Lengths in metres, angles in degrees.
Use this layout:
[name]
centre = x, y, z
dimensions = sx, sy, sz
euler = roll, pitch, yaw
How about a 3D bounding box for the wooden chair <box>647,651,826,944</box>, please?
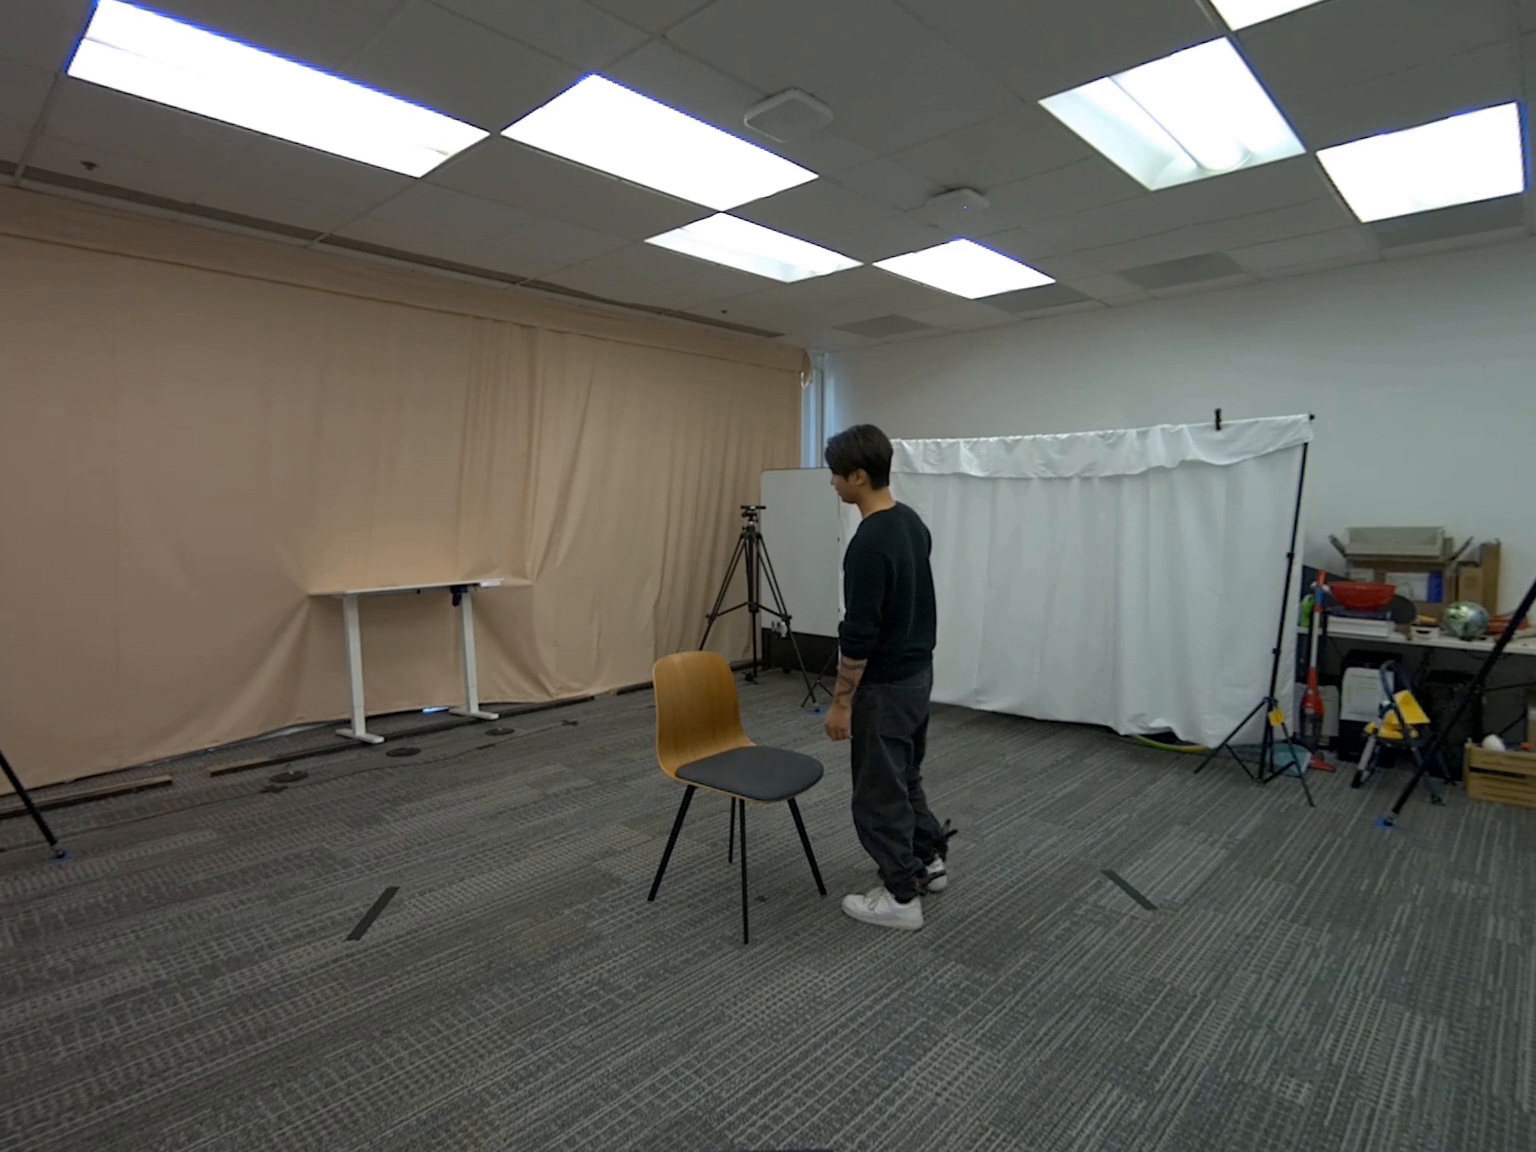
[wooden chair]
centre = -0.097, 0.719, 2.955
dimensions = 0.539, 0.877, 0.463
euler = -3, 0, 41
